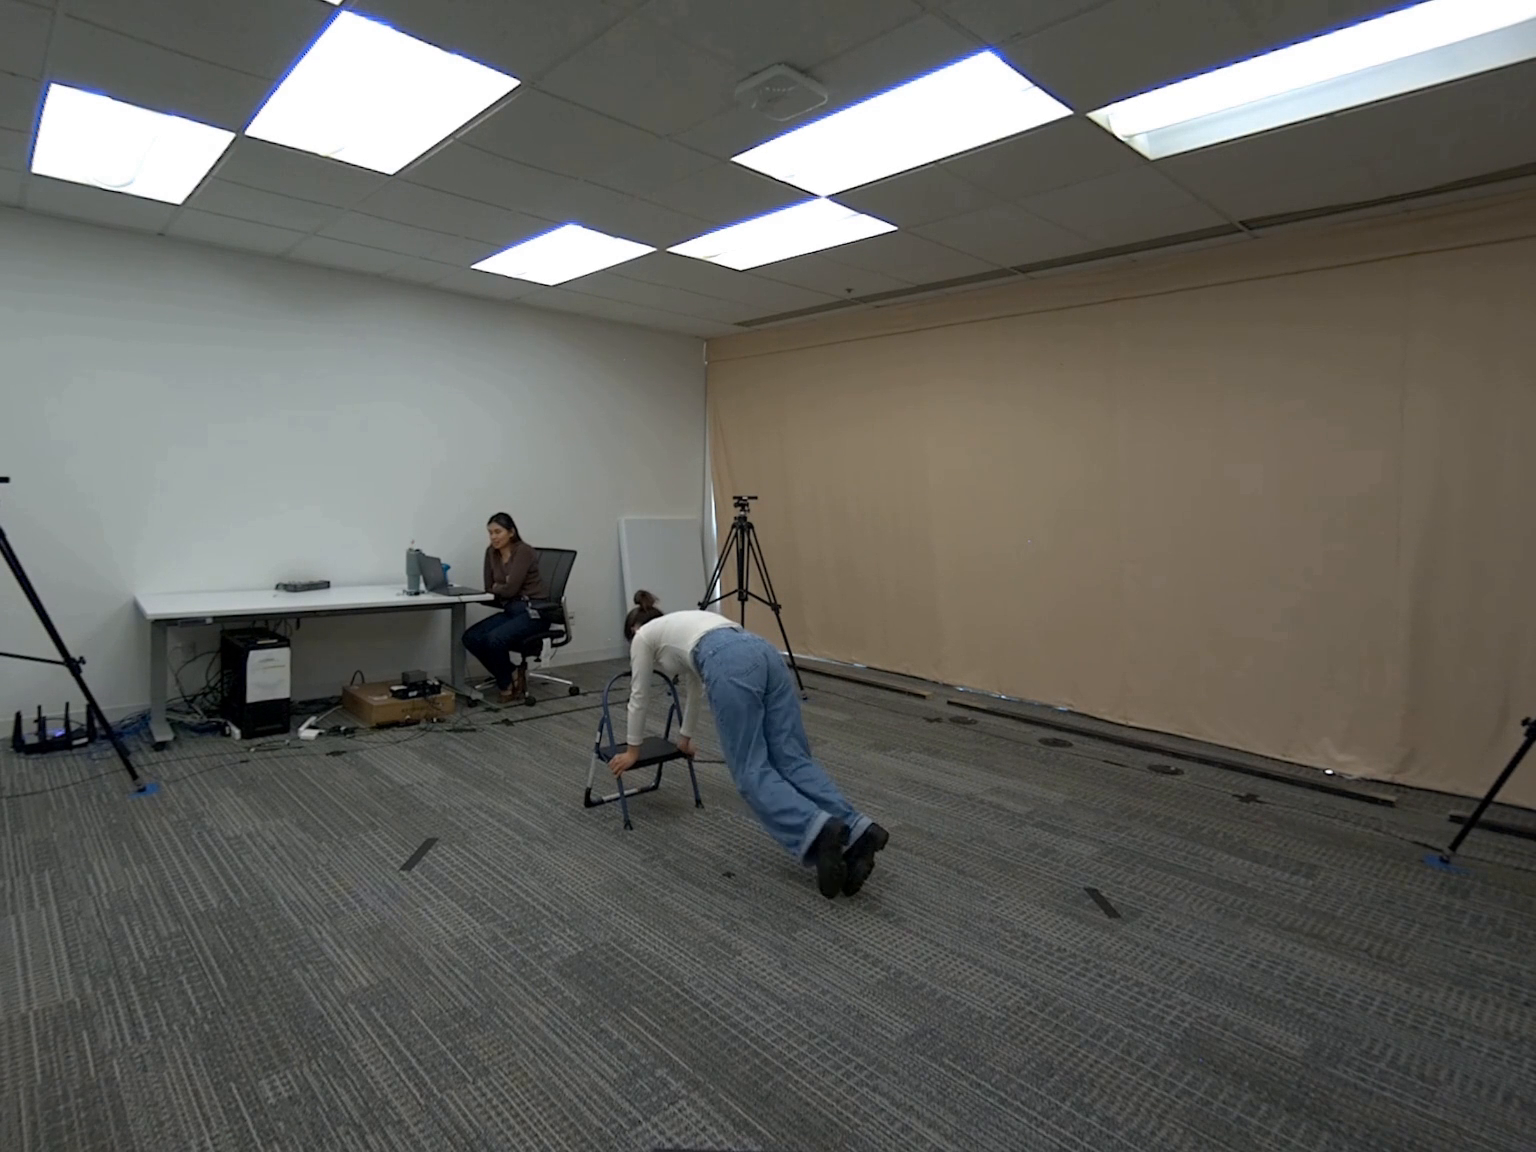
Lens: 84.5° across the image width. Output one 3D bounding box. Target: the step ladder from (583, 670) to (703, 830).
[{"bbox_3d":[-0.559,0.736,3.755,0.421,0.604,0.358,-2,5,-45],"label":"step ladder"}]
